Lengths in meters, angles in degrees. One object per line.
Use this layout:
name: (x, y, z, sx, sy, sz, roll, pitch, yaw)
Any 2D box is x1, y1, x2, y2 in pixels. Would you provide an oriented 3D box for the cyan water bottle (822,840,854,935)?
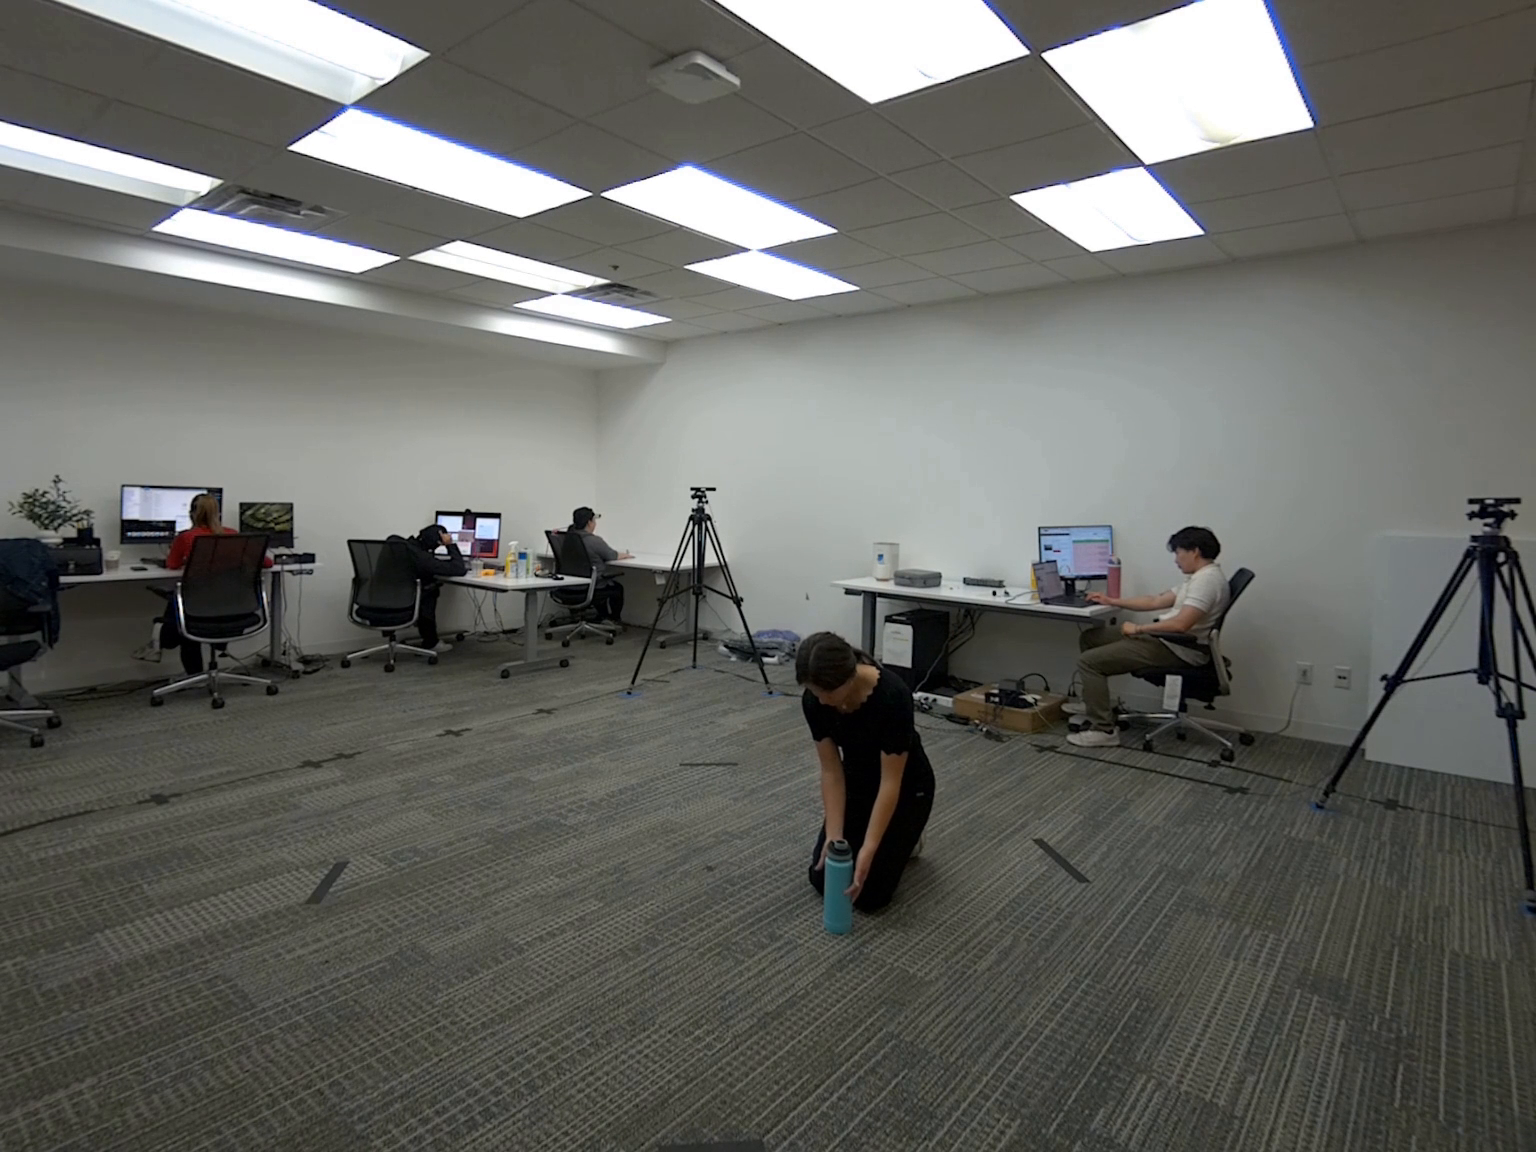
cyan water bottle: (0.216, 0.979, 2.705, 0.092, 0.283, 0.092, 1, 2, -2)
